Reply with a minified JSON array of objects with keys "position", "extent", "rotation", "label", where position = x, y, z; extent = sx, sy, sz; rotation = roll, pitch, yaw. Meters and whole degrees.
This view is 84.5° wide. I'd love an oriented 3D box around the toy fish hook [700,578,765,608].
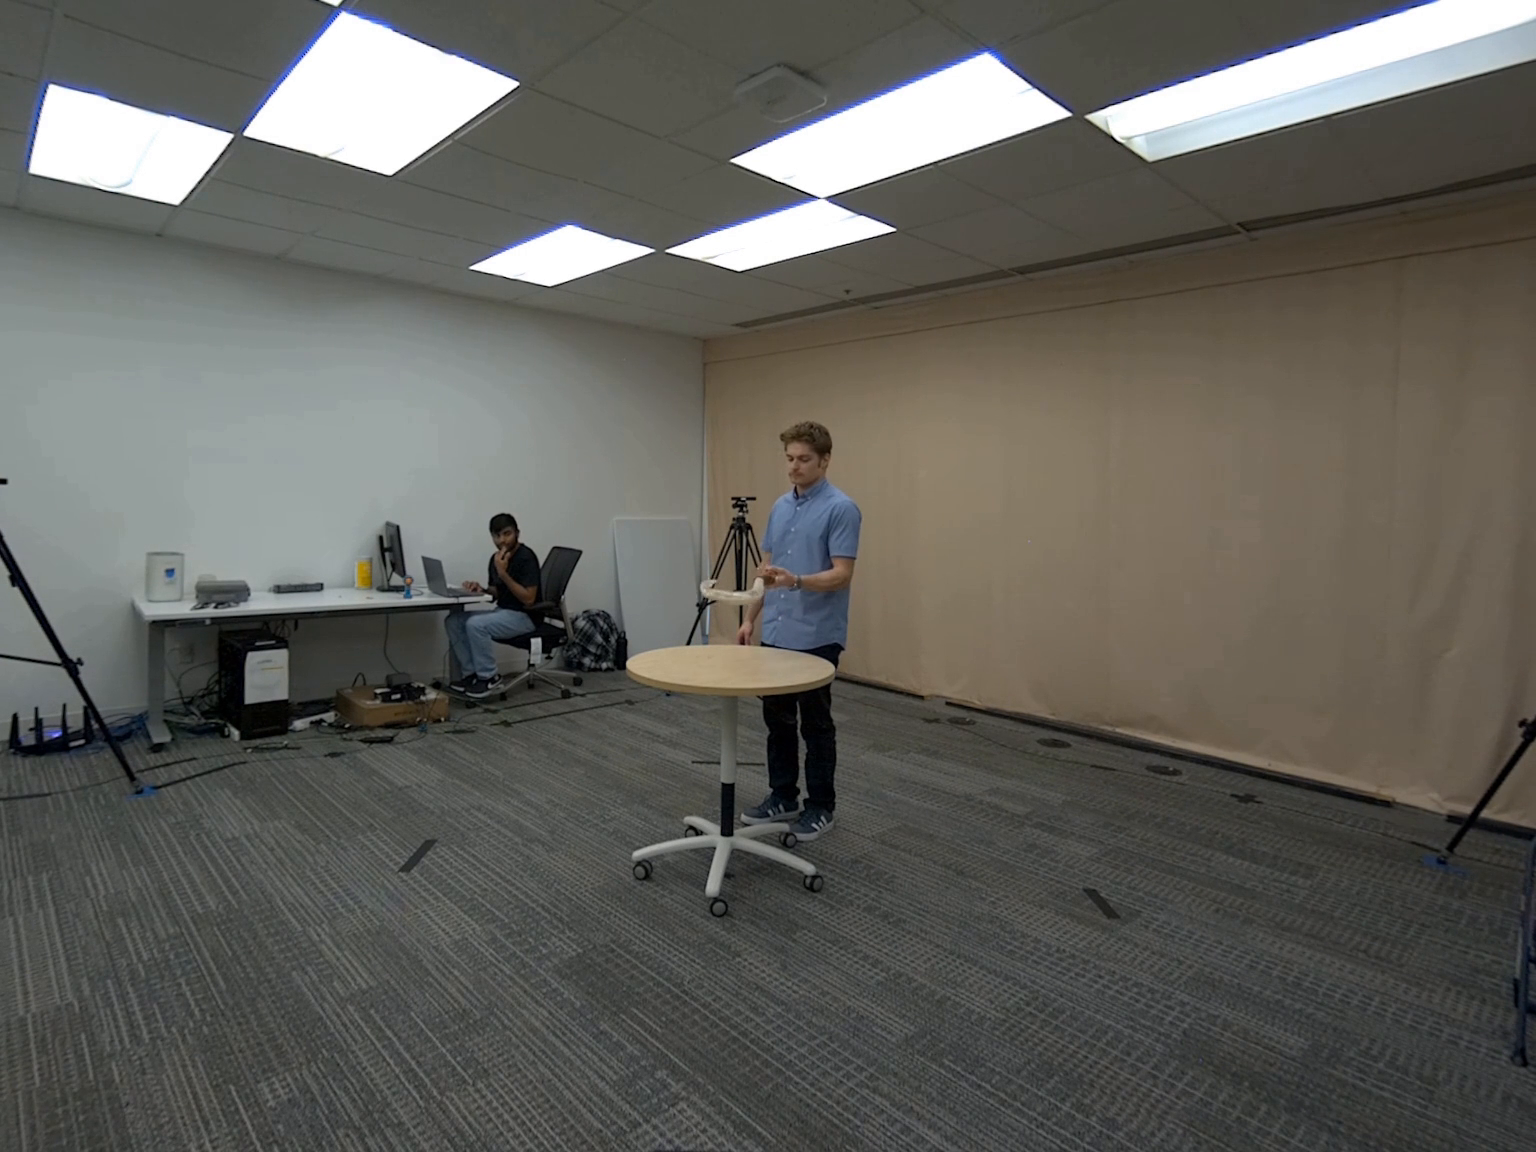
[{"position":[-0.106,0.030,3.041],"extent":[0.228,0.048,0.503],"rotation":[13,15,15],"label":"toy fish hook"}]
